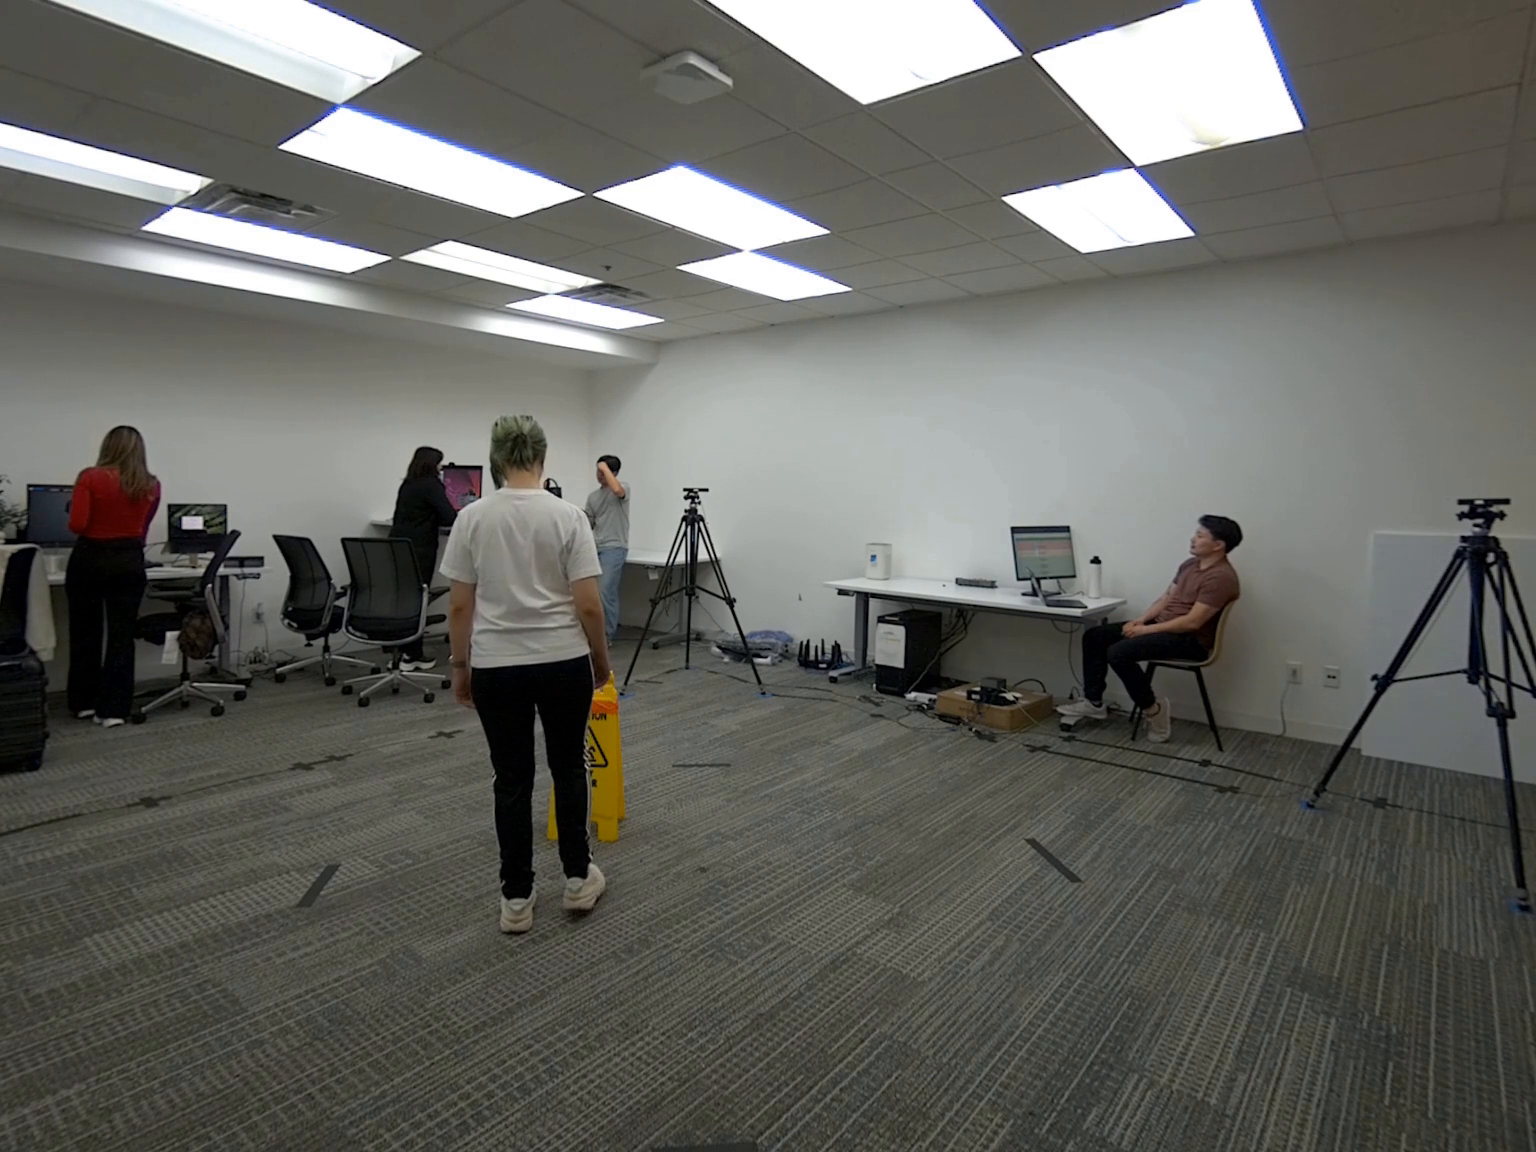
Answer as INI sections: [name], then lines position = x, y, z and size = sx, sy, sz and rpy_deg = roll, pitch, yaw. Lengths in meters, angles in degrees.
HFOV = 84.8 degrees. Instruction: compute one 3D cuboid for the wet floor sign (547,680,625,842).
[wet floor sign]
position = -0.752, 0.703, 3.452
size = 0.282, 0.645, 0.290
rpy_deg = -1, 2, -1
